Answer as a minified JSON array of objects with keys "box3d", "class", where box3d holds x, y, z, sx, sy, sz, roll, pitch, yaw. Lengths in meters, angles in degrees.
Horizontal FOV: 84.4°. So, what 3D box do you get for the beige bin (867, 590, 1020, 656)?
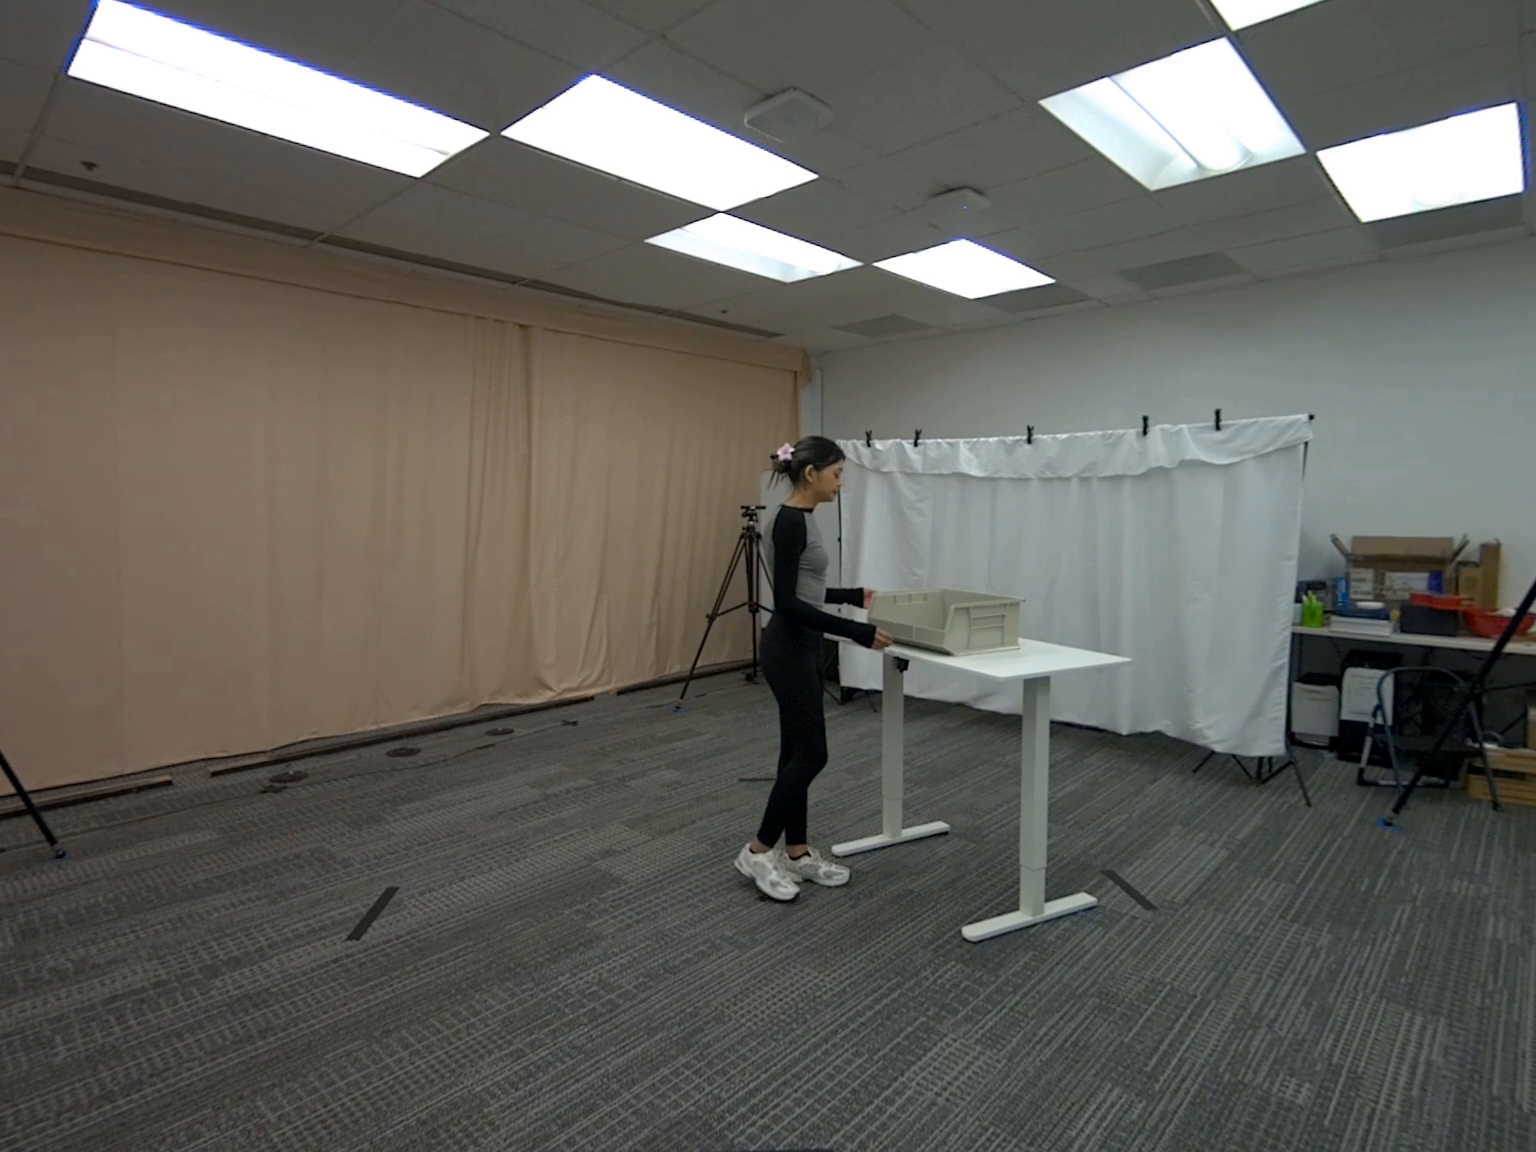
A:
[{"box3d":[0.648,0.165,3.068,0.367,0.188,0.435,-2,4,-31],"class":"beige bin"}]
